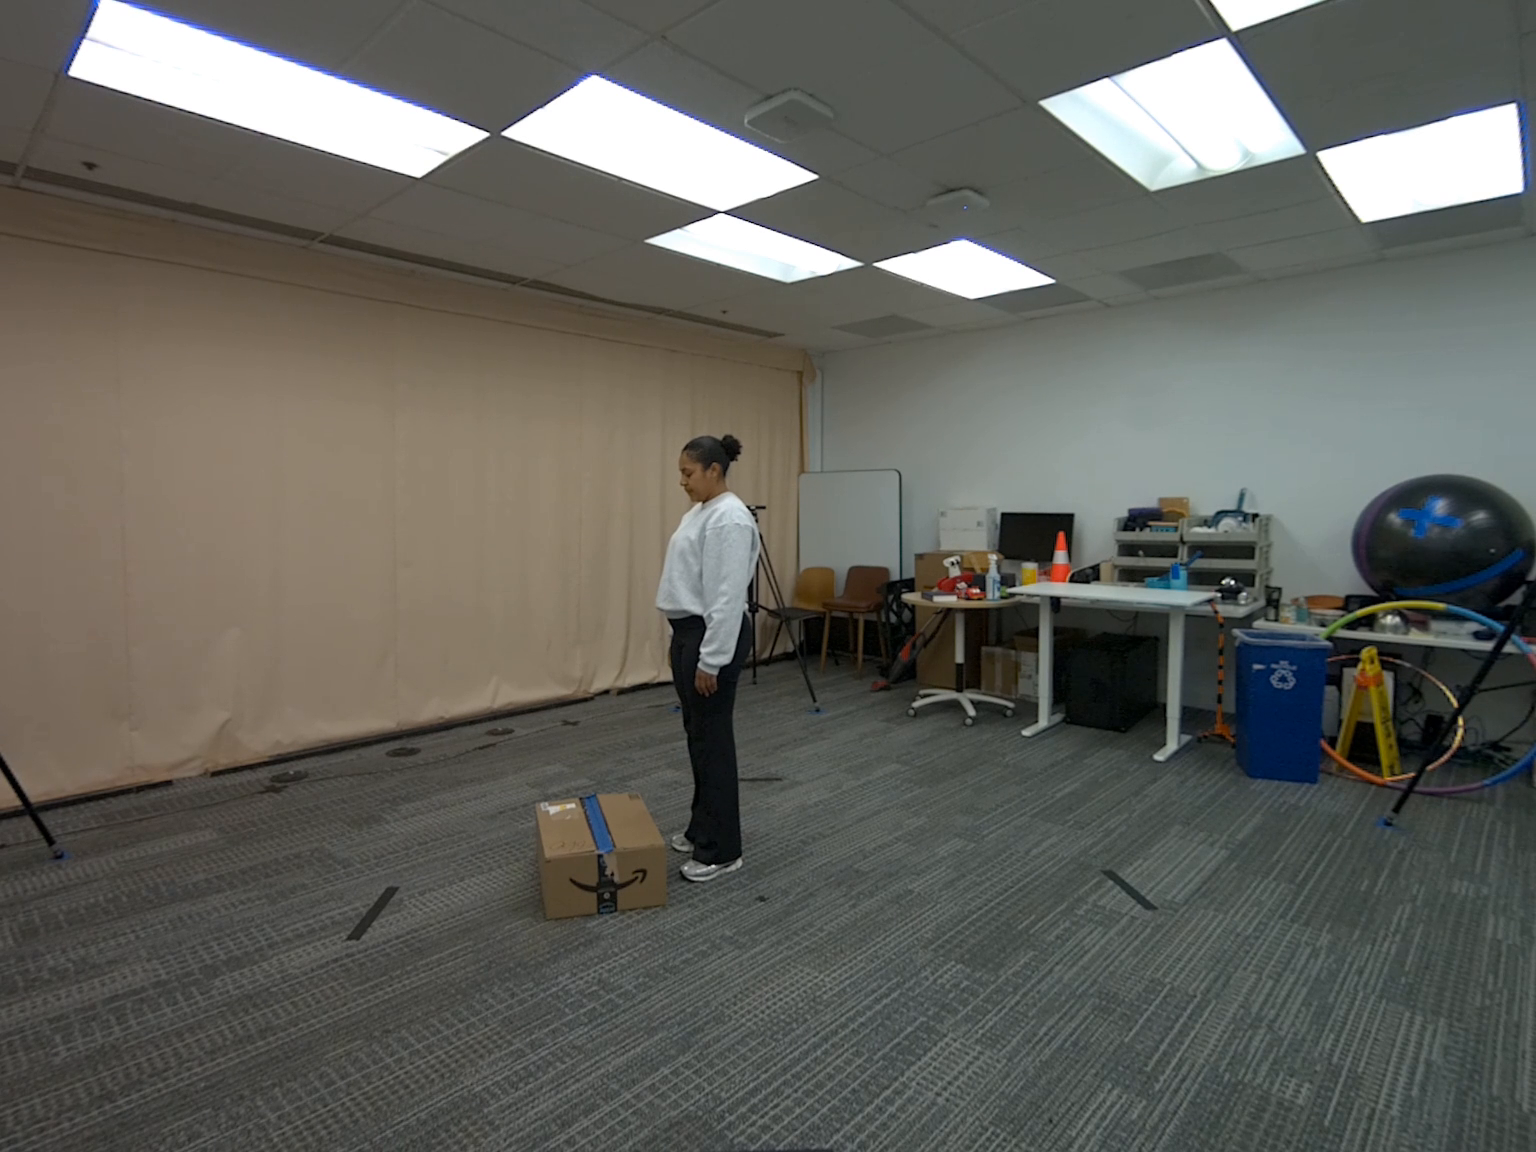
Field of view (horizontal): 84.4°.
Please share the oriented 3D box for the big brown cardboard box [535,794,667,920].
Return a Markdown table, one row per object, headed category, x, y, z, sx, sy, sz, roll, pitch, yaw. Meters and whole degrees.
| category | x | y | z | sx | sy | sz | roll | pitch | yaw |
| --- | --- | --- | --- | --- | --- | --- | --- | --- | --- |
| big brown cardboard box | -0.639 | 1.022 | 3.150 | 0.410 | 0.232 | 0.601 | -2 | 6 | -18 |
